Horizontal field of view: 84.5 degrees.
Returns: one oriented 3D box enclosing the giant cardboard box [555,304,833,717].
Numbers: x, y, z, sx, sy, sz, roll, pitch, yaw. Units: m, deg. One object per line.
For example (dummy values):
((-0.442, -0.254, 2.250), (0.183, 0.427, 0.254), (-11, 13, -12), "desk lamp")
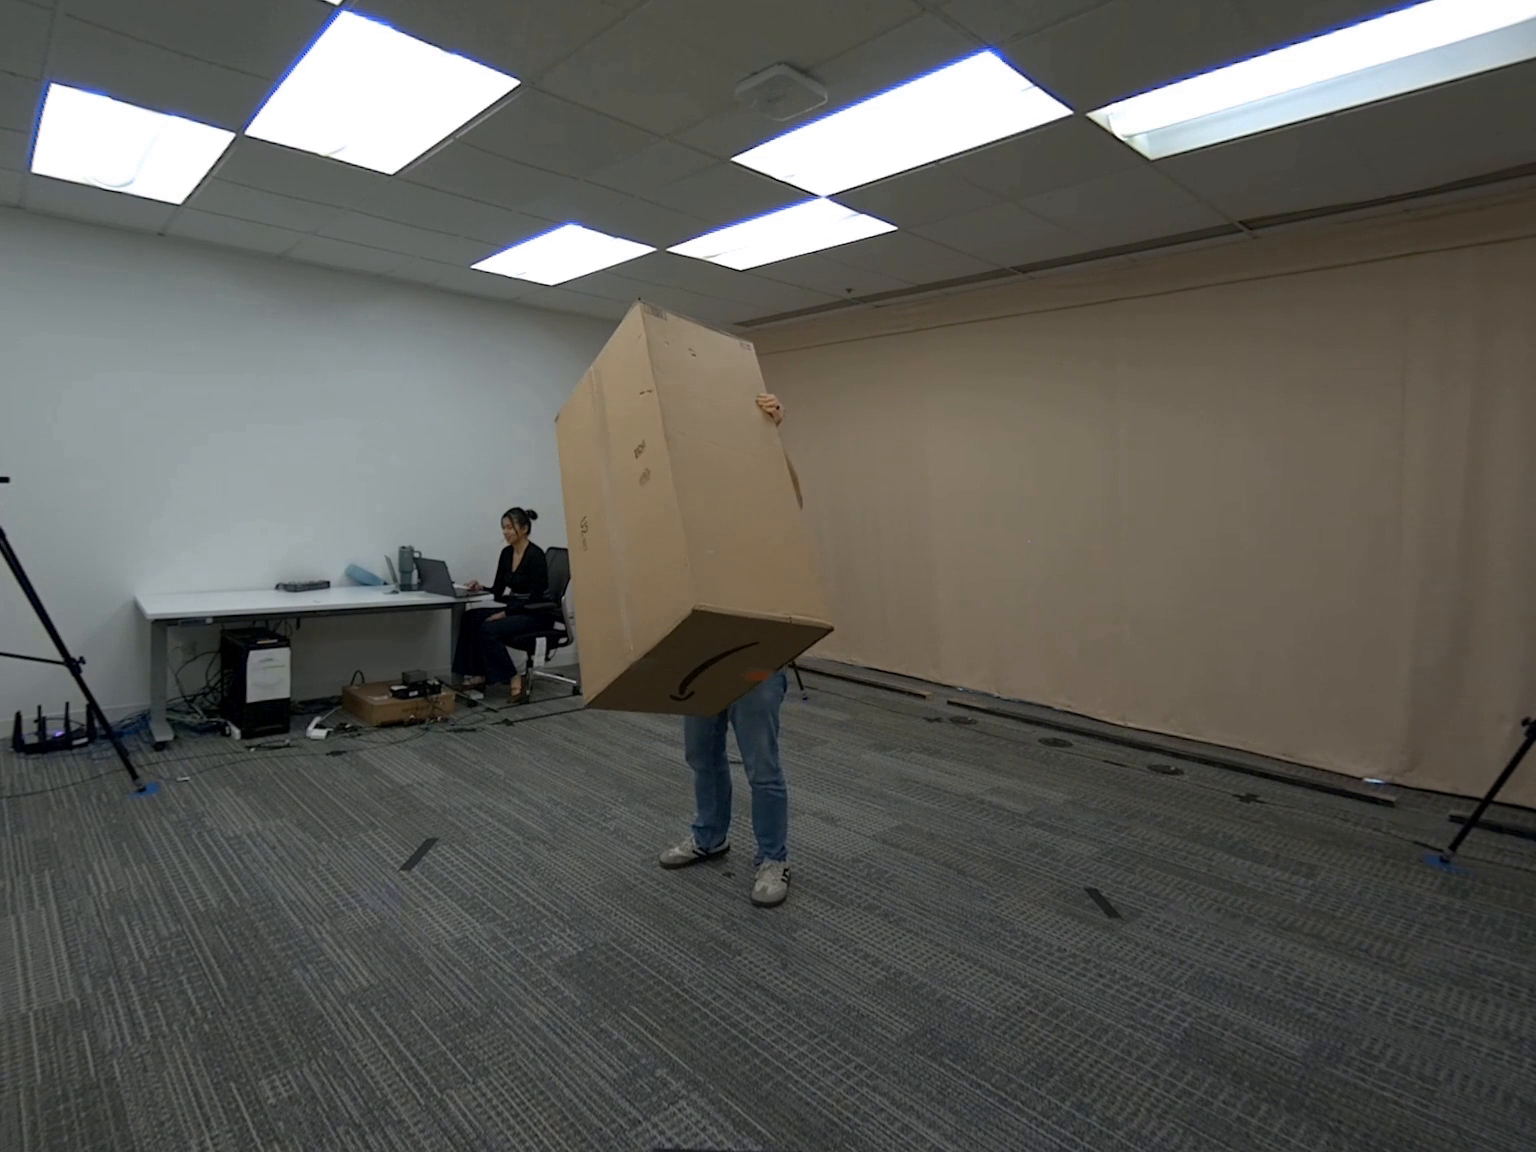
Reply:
((-0.275, -0.195, 2.451), (0.415, 1.050, 0.579), (12, -39, -37), "giant cardboard box")
